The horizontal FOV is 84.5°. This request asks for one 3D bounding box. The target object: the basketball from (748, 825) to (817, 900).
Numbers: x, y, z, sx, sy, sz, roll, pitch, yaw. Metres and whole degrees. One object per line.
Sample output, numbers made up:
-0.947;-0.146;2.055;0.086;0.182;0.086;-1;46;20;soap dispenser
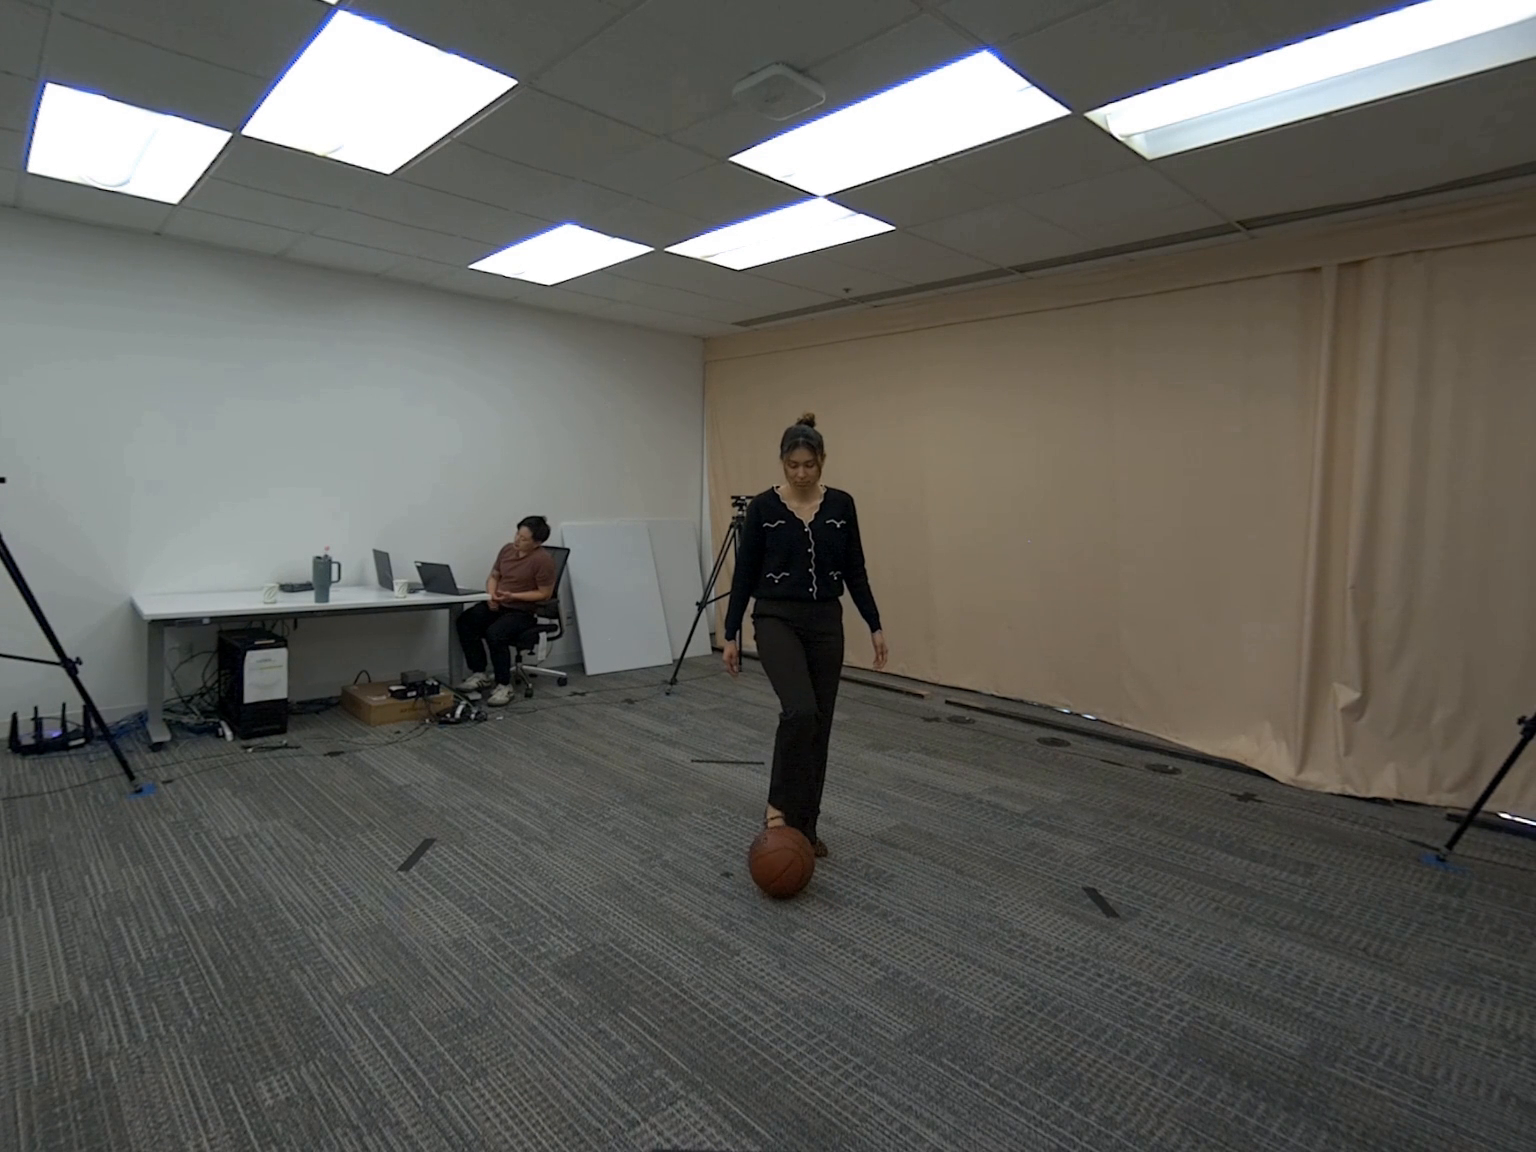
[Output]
0.046;1.003;2.934;0.236;0.235;0.237;1;4;-1;basketball
